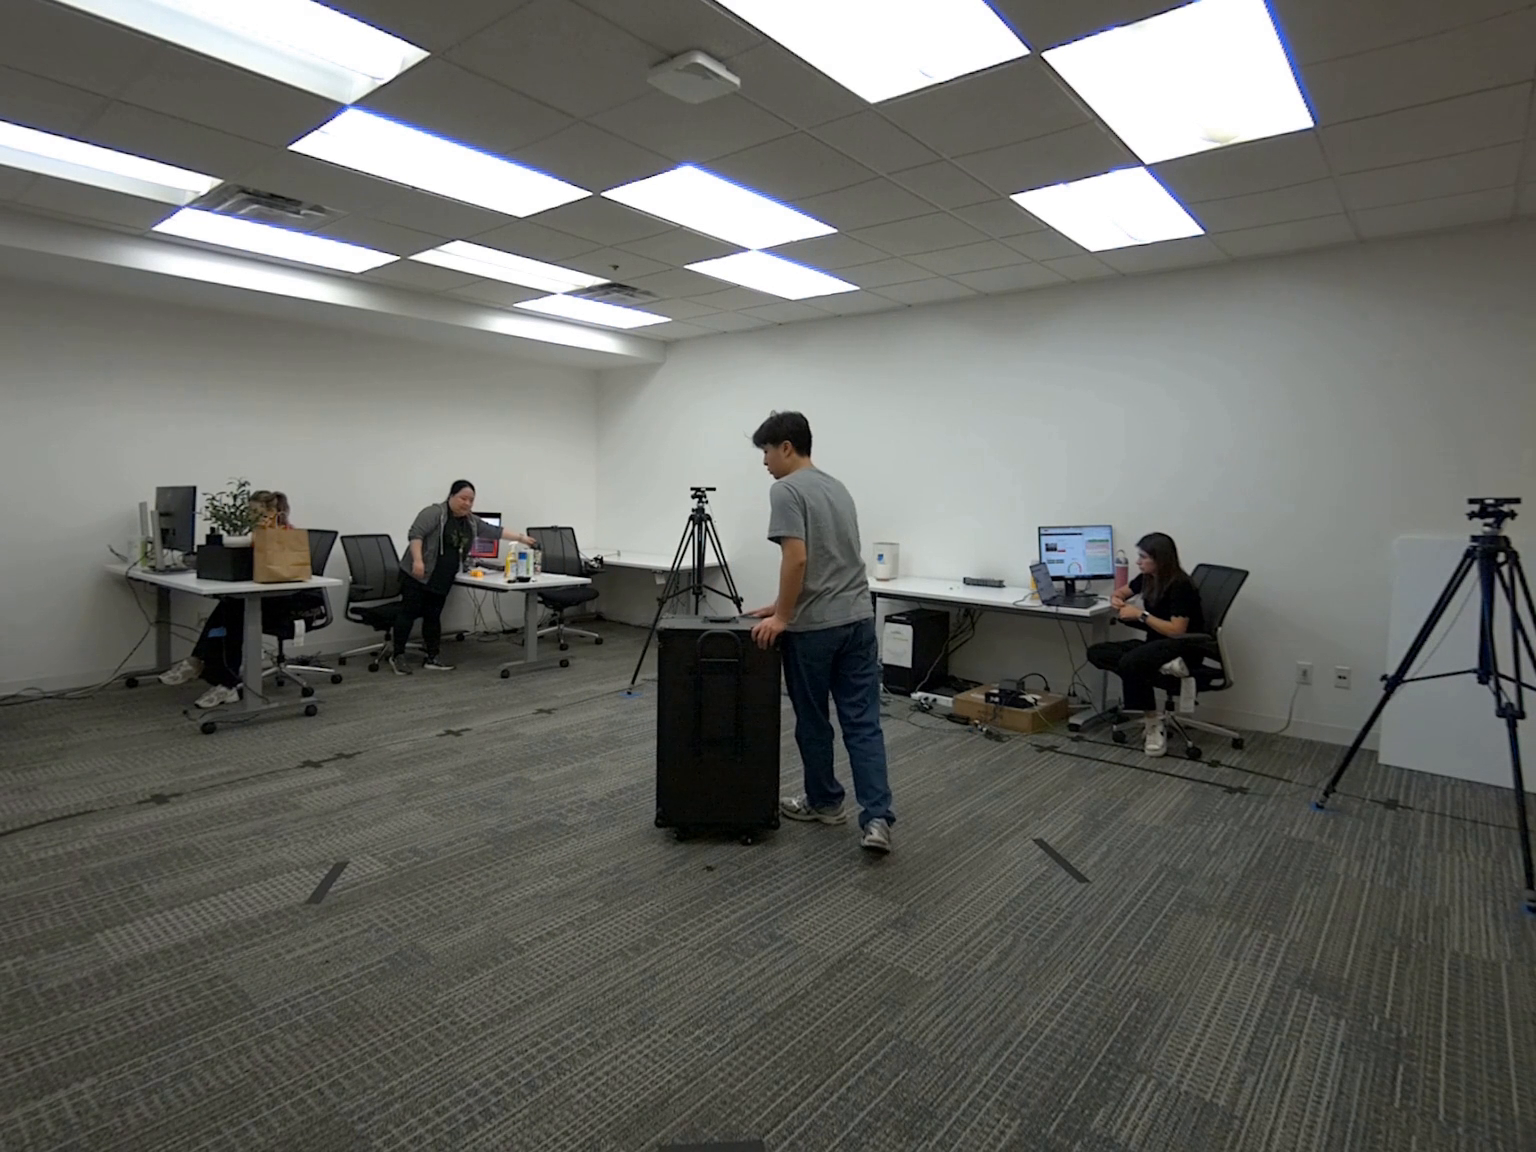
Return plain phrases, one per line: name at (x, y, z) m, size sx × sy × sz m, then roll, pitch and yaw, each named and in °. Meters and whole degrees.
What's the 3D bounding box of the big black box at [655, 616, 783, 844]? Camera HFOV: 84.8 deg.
big black box at (-0.211, 0.616, 3.453) m, size 0.522 × 0.859 × 0.397 m, roll 1°, pitch 4°, yaw 0°
